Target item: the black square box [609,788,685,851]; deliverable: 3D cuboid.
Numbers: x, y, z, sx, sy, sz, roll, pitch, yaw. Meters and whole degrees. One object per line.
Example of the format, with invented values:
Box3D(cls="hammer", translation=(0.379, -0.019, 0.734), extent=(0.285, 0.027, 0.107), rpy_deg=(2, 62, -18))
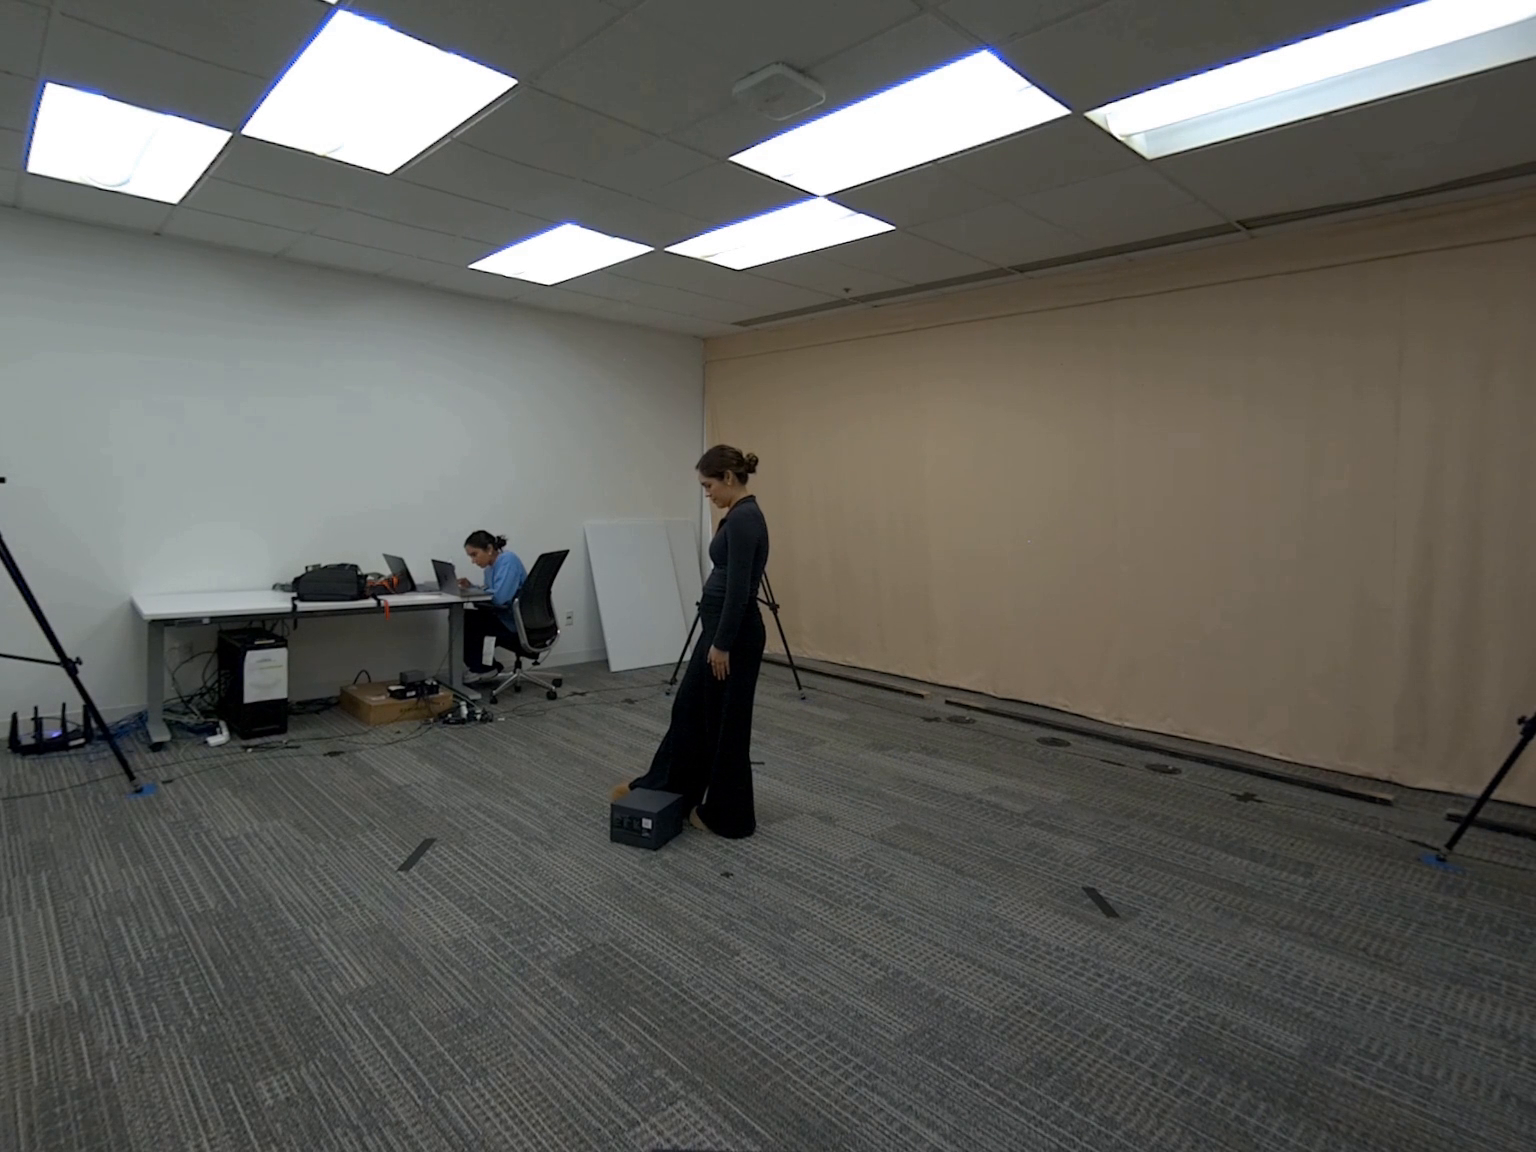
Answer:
Box3D(cls="black square box", translation=(-0.507, 0.985, 3.428), extent=(0.221, 0.155, 0.224), rpy_deg=(3, 4, 23))
